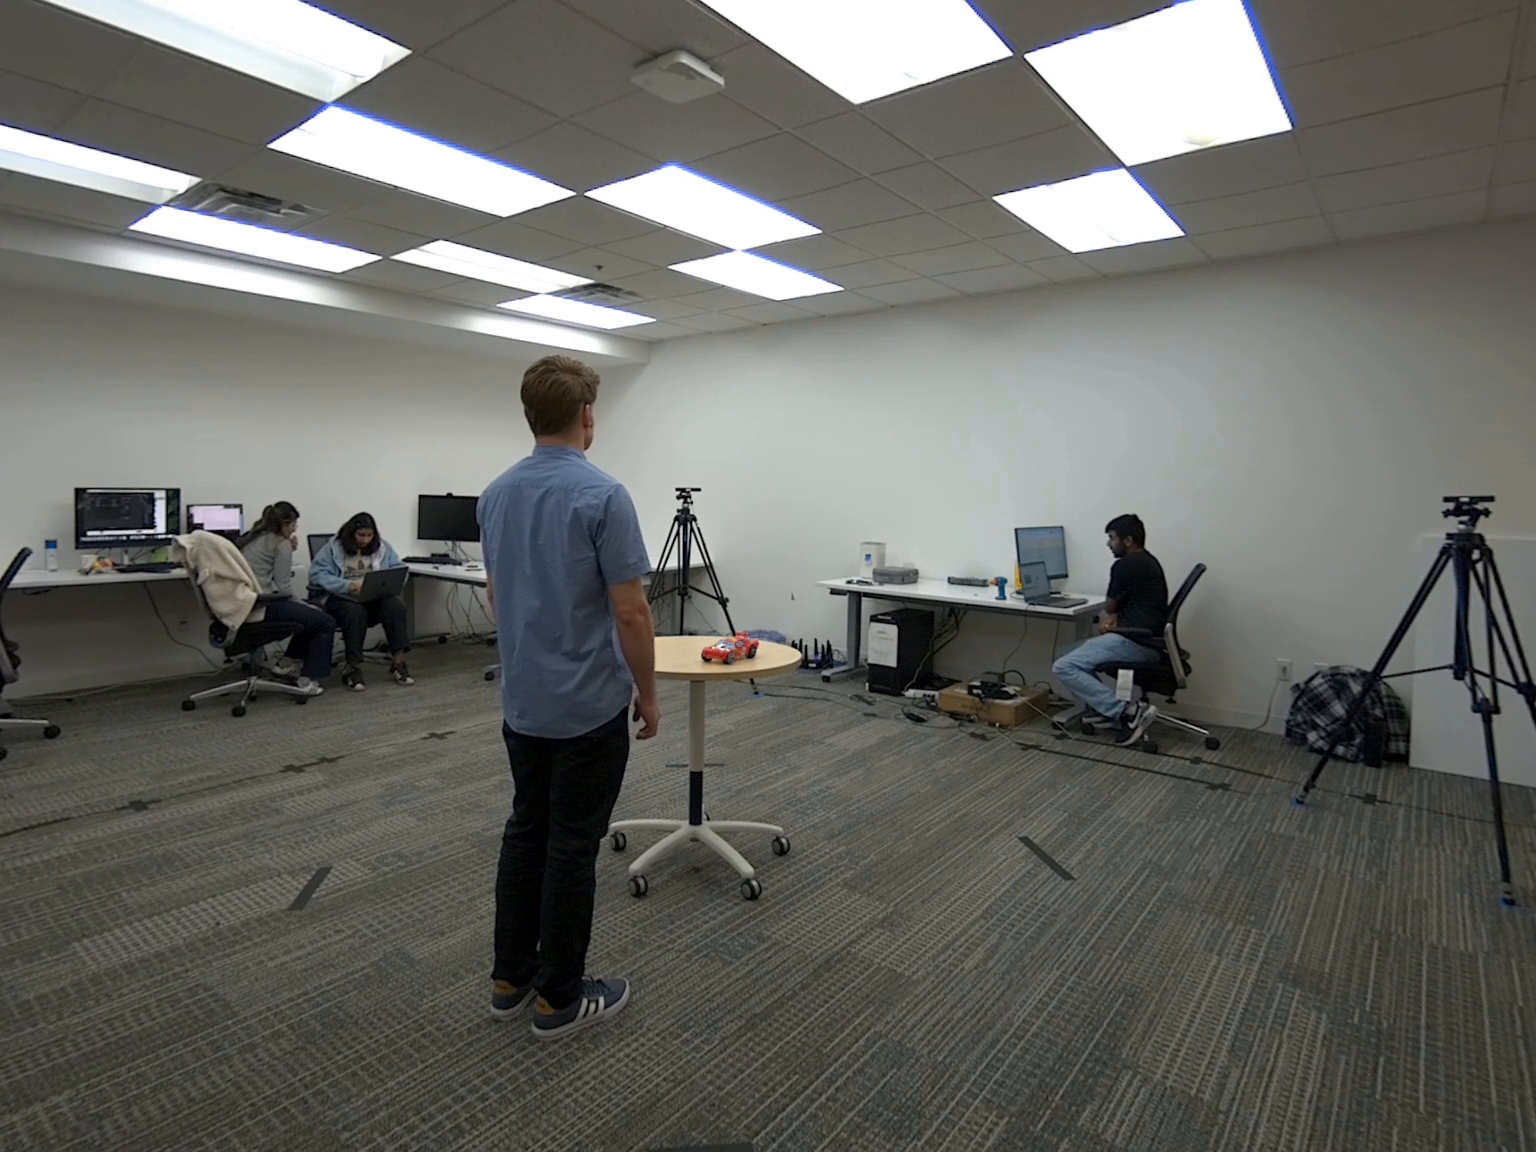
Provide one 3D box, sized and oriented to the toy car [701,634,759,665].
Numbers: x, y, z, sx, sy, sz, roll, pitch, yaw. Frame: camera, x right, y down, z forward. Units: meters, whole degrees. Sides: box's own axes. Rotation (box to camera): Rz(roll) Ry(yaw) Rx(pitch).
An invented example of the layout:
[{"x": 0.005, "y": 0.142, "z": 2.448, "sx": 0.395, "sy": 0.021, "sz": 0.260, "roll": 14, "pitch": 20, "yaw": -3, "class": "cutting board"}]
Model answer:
[{"x": -0.136, "y": 0.260, "z": 3.028, "sx": 0.134, "sy": 0.082, "sz": 0.250, "roll": 3, "pitch": 16, "yaw": 32, "class": "toy car"}]
